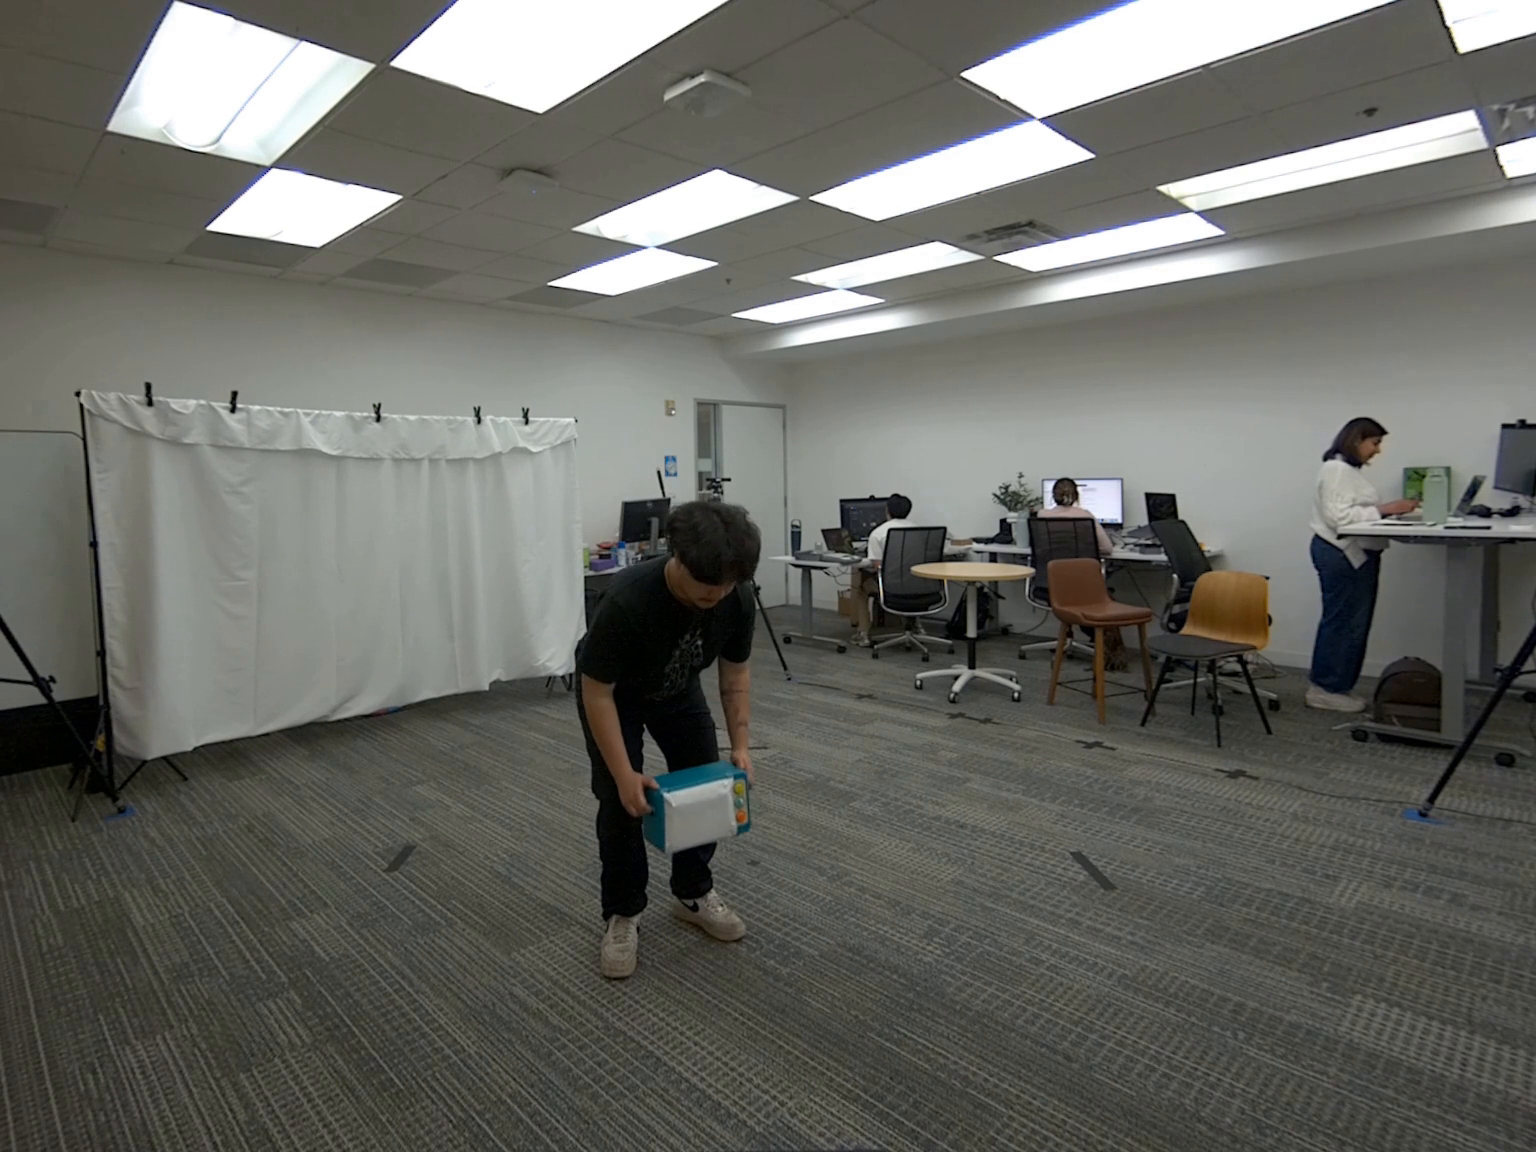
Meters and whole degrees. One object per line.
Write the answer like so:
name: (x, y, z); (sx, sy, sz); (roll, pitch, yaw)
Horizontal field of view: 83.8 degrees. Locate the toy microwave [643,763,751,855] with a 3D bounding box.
toy microwave: (-0.198, 0.640, 2.360); (0.280, 0.183, 0.156); (-7, 4, -27)
